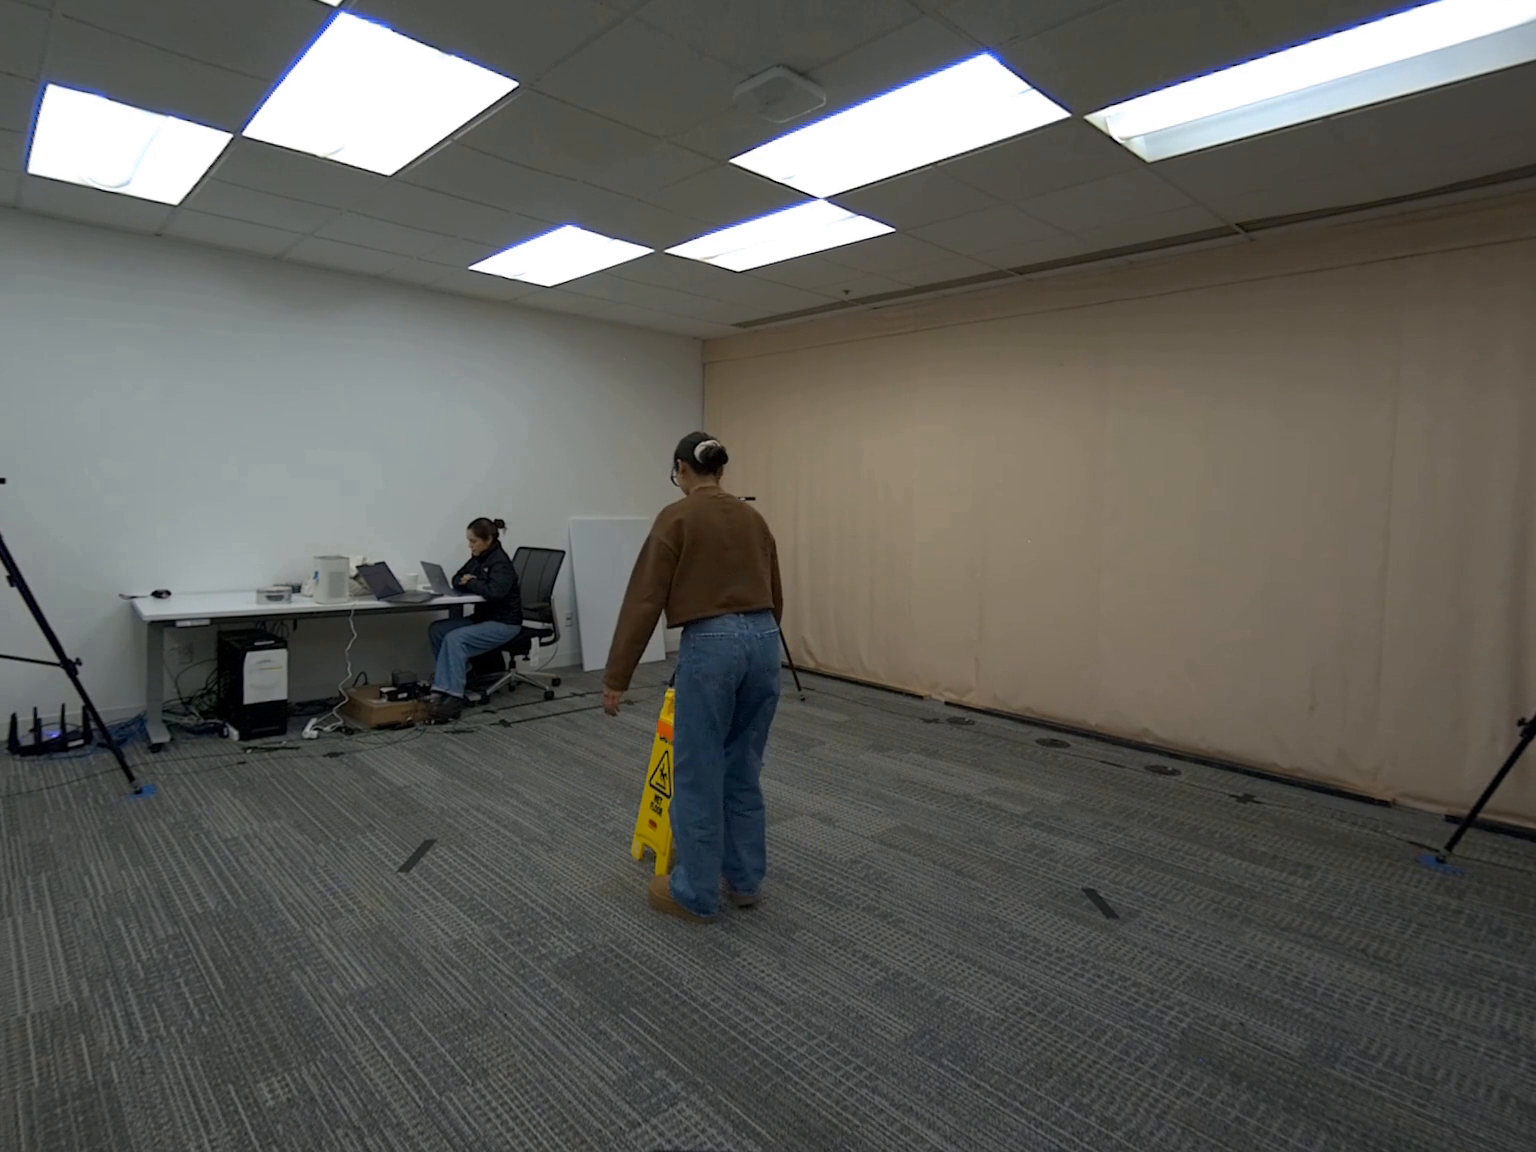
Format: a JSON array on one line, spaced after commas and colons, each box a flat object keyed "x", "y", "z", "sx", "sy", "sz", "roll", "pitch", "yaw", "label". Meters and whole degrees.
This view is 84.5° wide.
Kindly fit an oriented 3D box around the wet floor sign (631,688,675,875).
[{"x": -0.344, "y": 0.769, "z": 3.222, "sx": 0.283, "sy": 0.644, "sz": 0.289, "roll": 0, "pitch": 4, "yaw": -34, "label": "wet floor sign"}]
